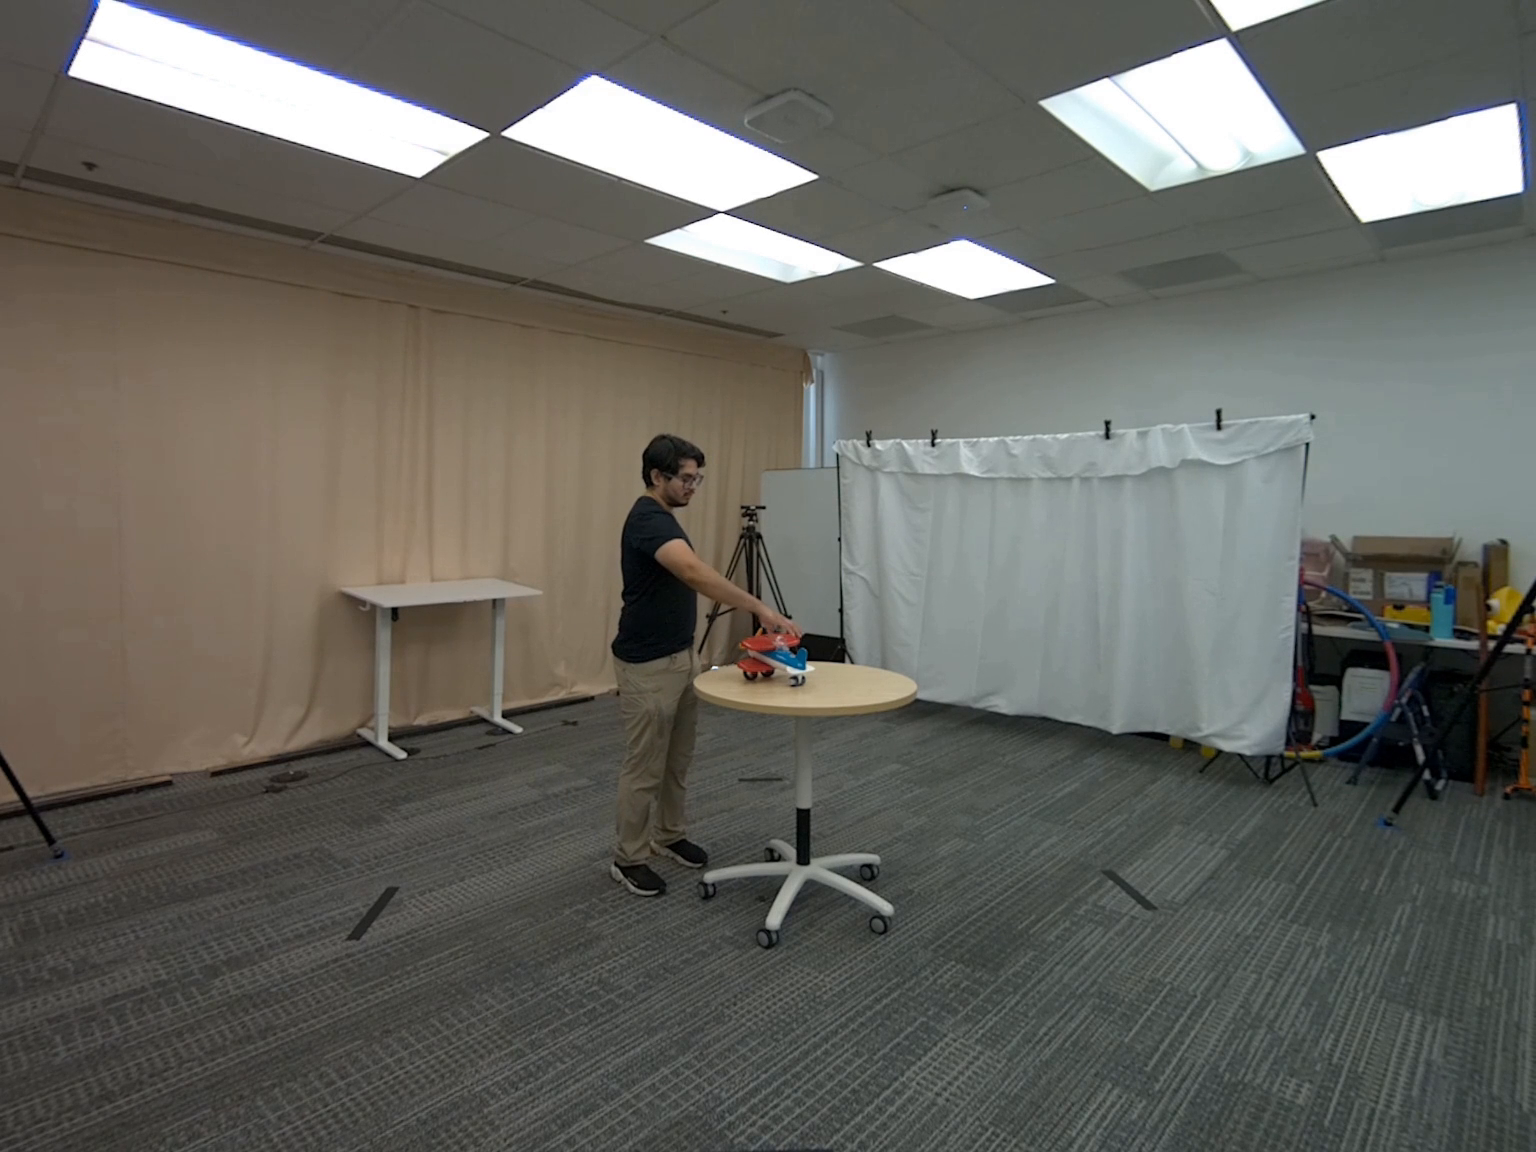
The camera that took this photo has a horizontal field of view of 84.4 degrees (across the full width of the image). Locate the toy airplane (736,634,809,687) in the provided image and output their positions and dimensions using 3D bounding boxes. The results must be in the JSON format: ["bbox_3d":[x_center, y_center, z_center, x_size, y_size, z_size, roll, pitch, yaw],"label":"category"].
[{"bbox_3d":[0.048,0.288,2.925,0.264,0.156,0.247,0,4,18],"label":"toy airplane"}]
